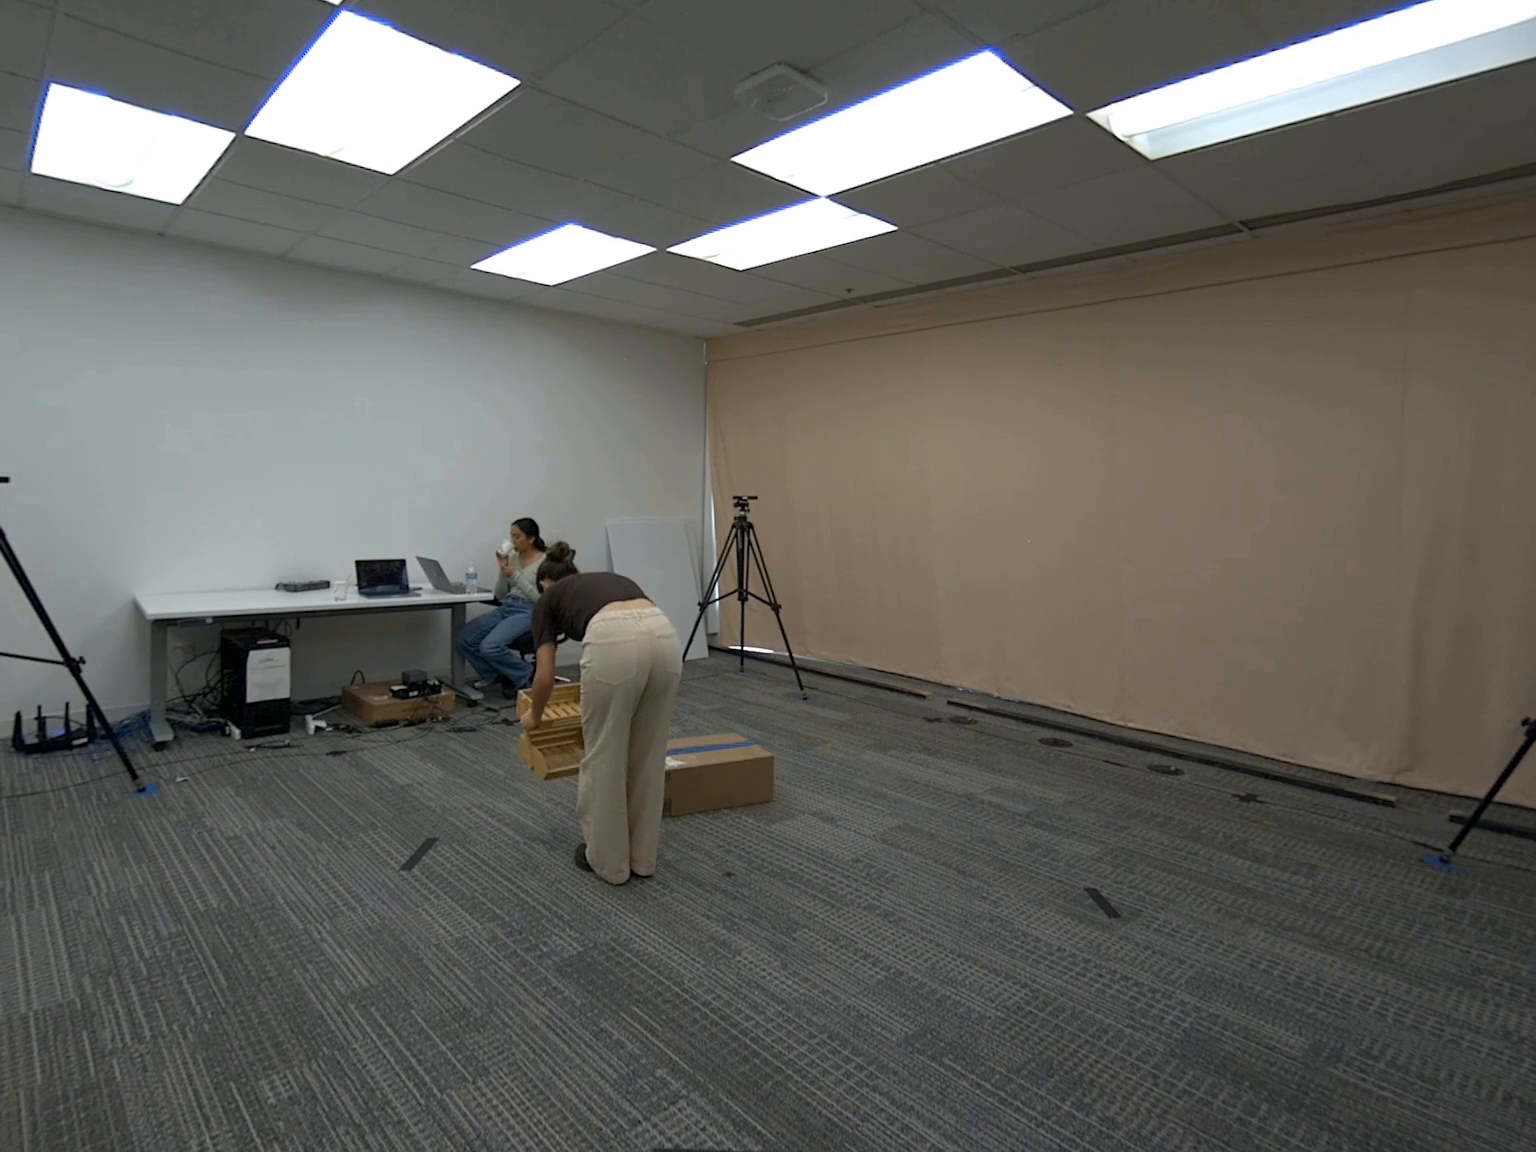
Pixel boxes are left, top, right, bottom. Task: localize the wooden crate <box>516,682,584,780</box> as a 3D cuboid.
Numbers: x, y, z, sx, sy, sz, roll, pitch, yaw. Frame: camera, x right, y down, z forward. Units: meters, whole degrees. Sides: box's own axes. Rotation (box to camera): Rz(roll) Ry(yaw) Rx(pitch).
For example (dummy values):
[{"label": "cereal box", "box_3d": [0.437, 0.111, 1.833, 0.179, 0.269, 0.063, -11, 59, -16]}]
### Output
[{"label": "wooden crate", "box_3d": [-0.817, 0.612, 3.372, 0.317, 0.271, 0.311, -2, 16, -41]}]
